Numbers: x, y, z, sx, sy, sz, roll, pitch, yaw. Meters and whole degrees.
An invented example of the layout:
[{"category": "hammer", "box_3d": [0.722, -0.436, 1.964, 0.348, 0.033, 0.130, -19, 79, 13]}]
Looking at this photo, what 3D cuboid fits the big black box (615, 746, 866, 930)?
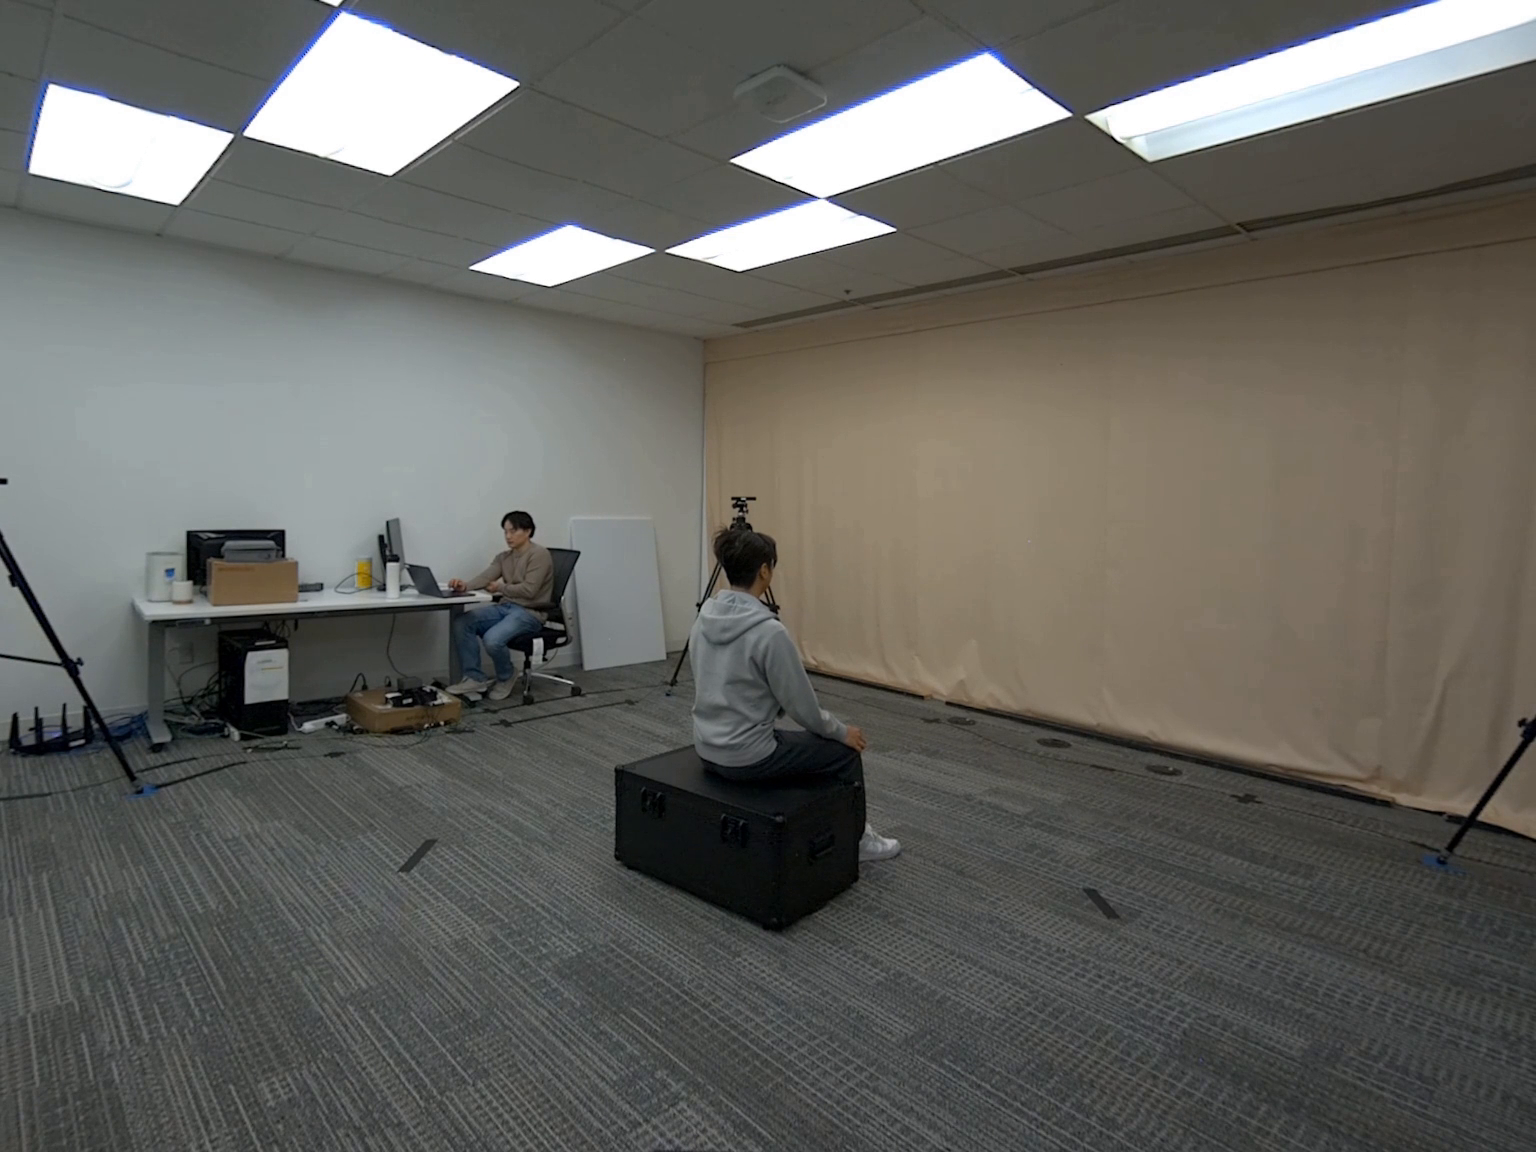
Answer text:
[{"category": "big black box", "box_3d": [-0.110, 0.925, 3.071, 0.883, 0.395, 0.510, 5, 6, 40]}]
